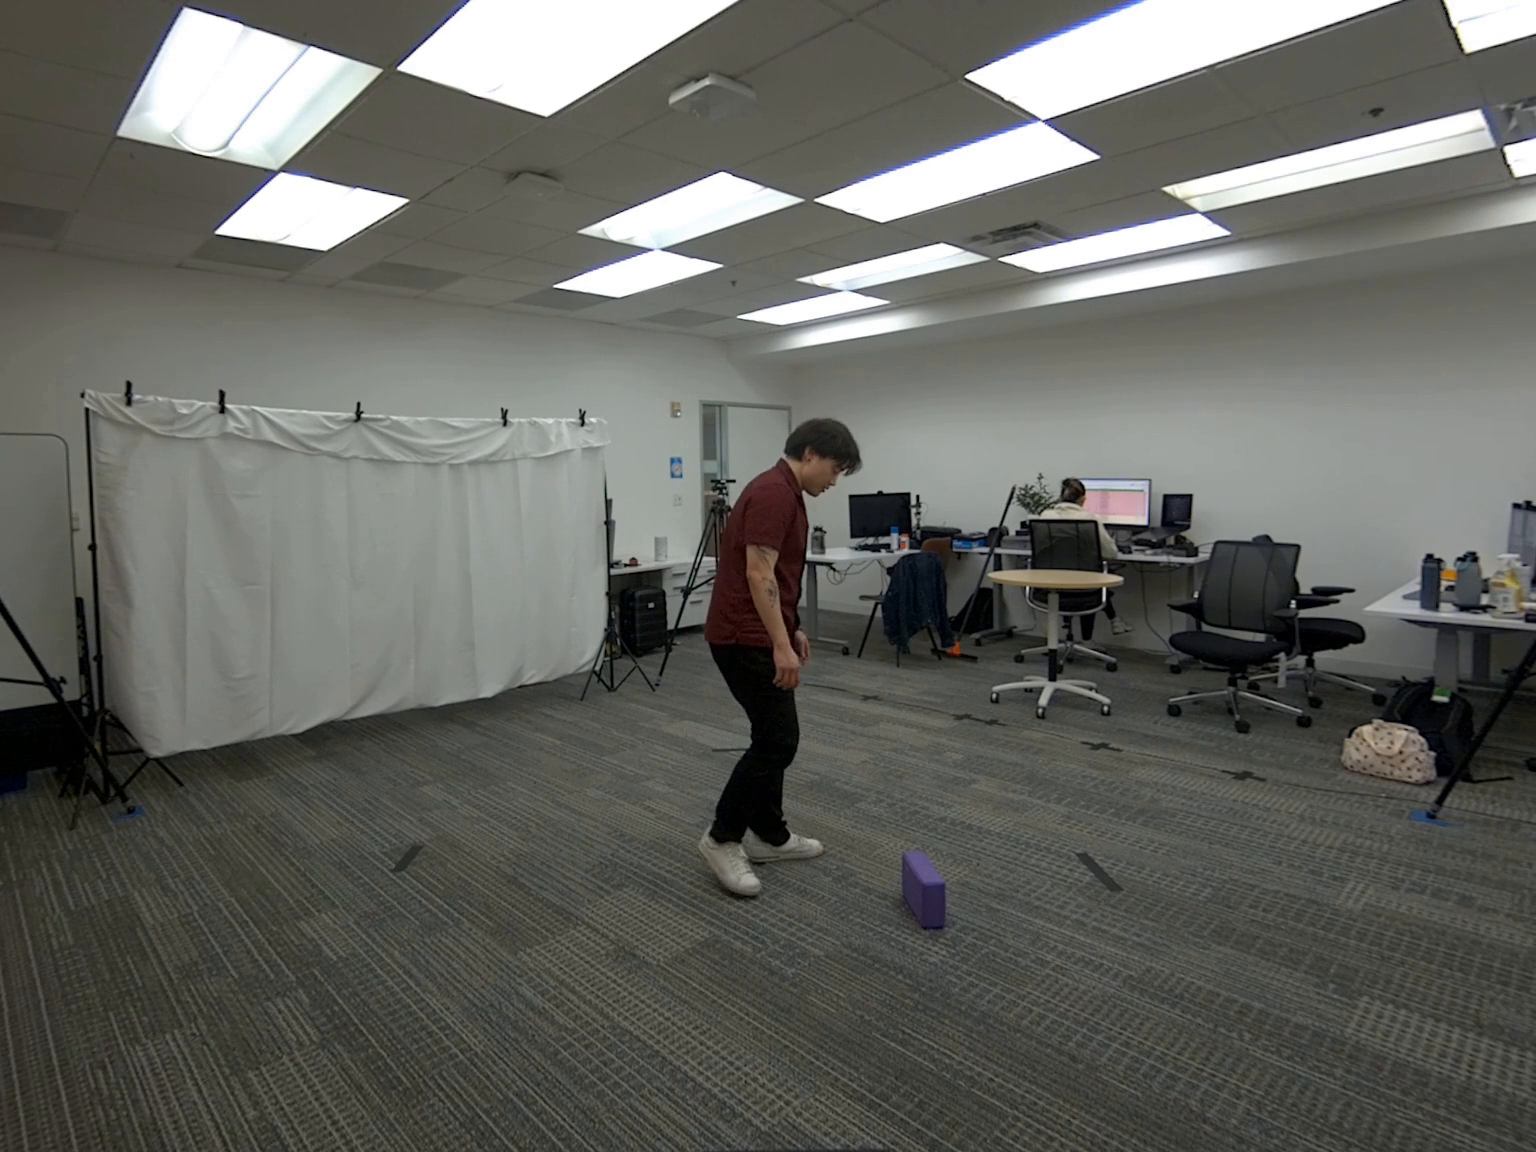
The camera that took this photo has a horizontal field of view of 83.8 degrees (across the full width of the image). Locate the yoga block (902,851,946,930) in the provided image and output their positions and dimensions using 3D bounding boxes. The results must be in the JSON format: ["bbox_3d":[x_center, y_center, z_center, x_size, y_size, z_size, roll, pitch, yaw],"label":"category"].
[{"bbox_3d":[0.505,1.003,2.731,0.076,0.148,0.231,0,4,-6],"label":"yoga block"}]
